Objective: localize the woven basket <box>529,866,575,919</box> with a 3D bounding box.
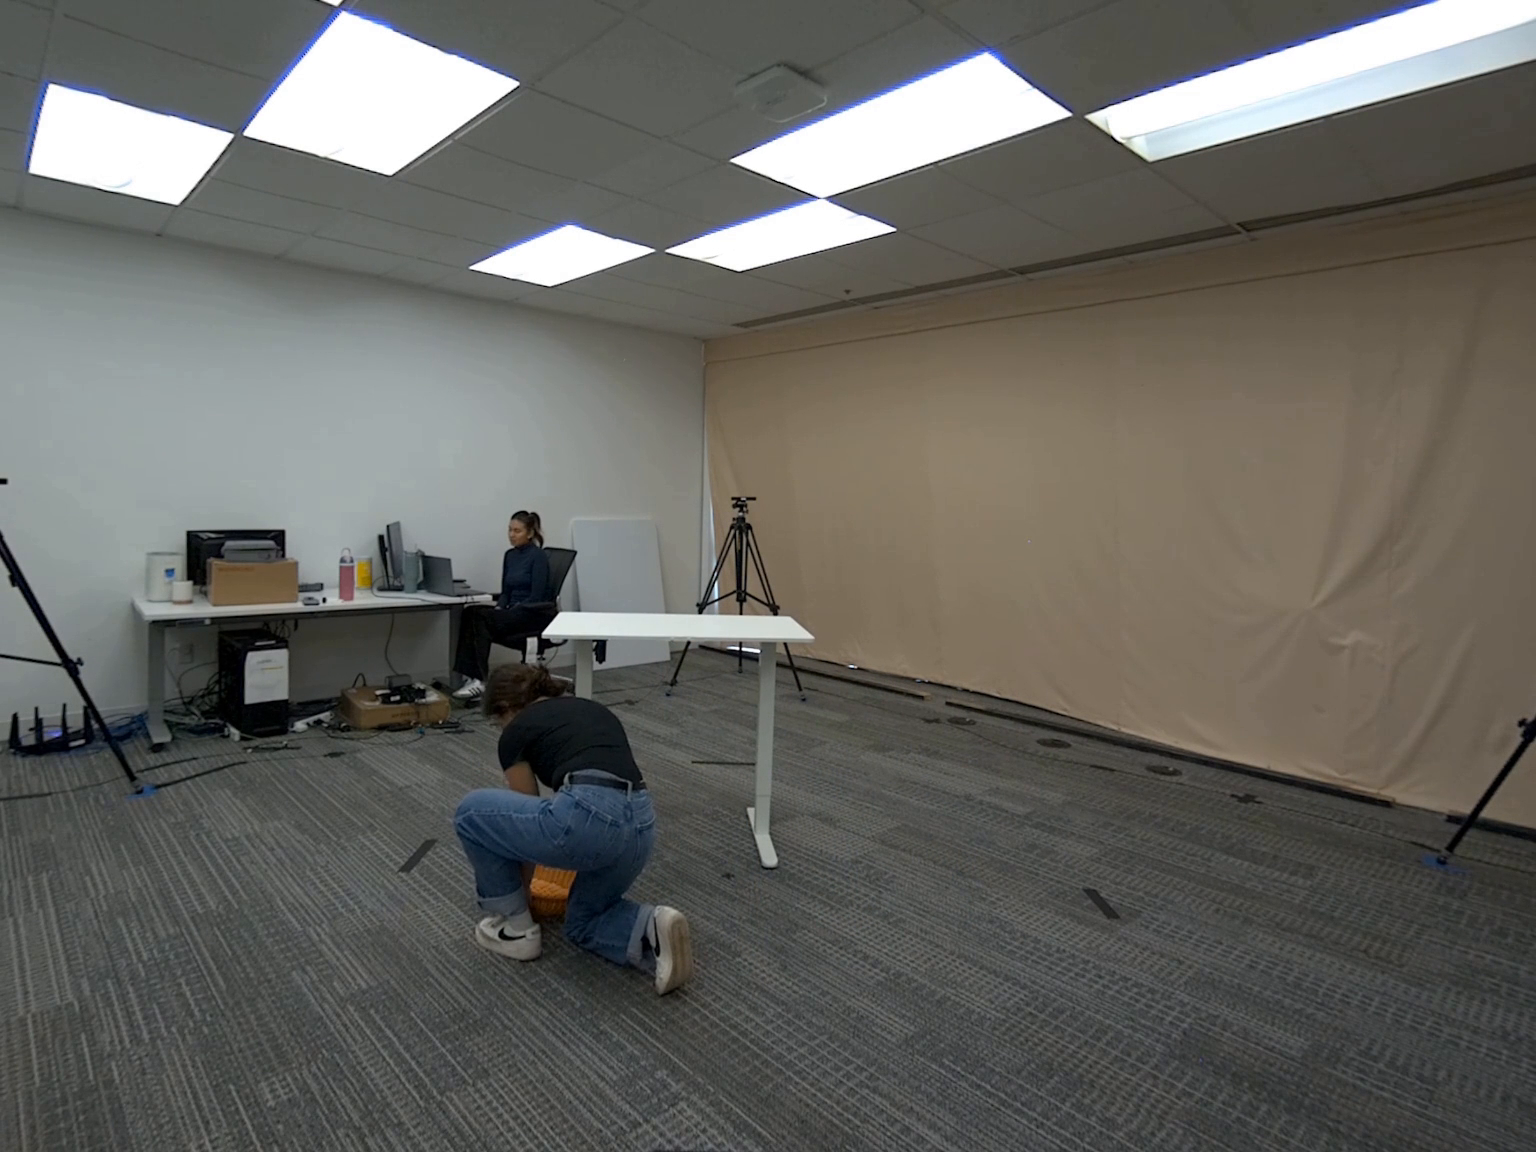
[{"bbox_3d":[-0.767,1.043,2.816,0.356,0.073,0.249,5,4,18],"label":"woven basket"}]
